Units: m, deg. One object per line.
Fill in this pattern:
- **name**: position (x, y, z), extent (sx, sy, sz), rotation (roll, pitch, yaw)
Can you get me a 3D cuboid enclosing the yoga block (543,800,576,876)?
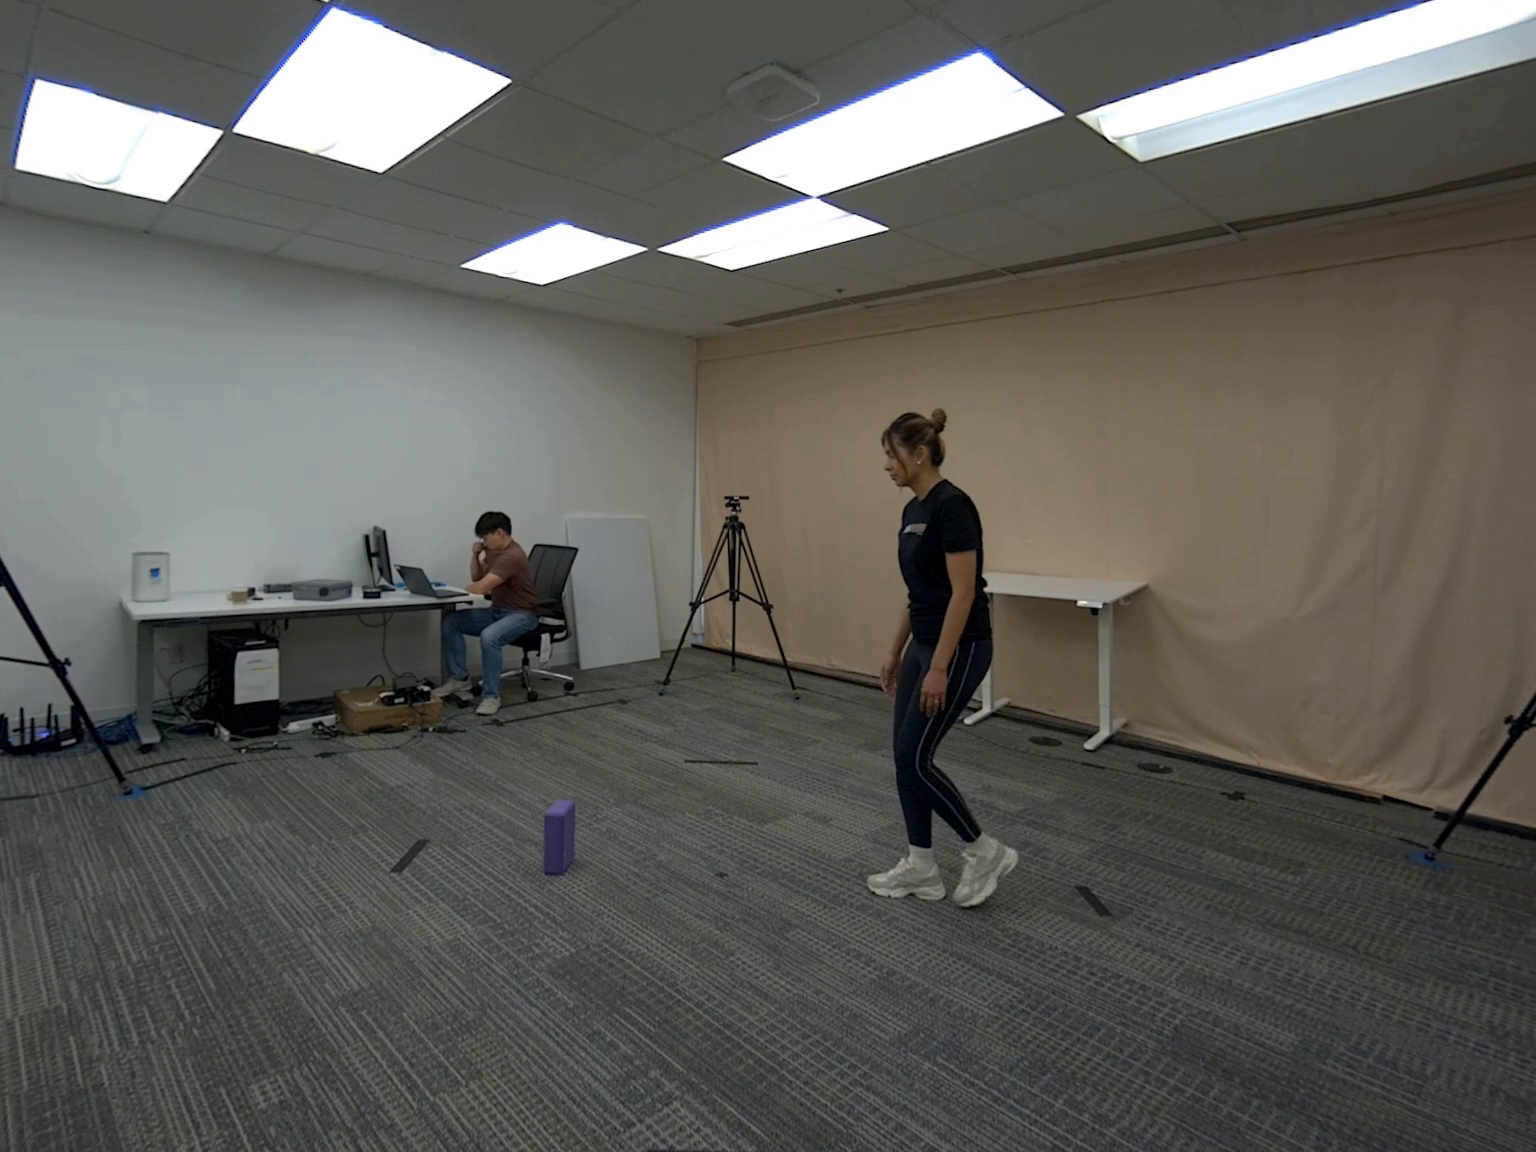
- **yoga block**: position (-0.776, 0.968, 3.131), extent (0.077, 0.228, 0.149), rotation (2, 5, 5)
